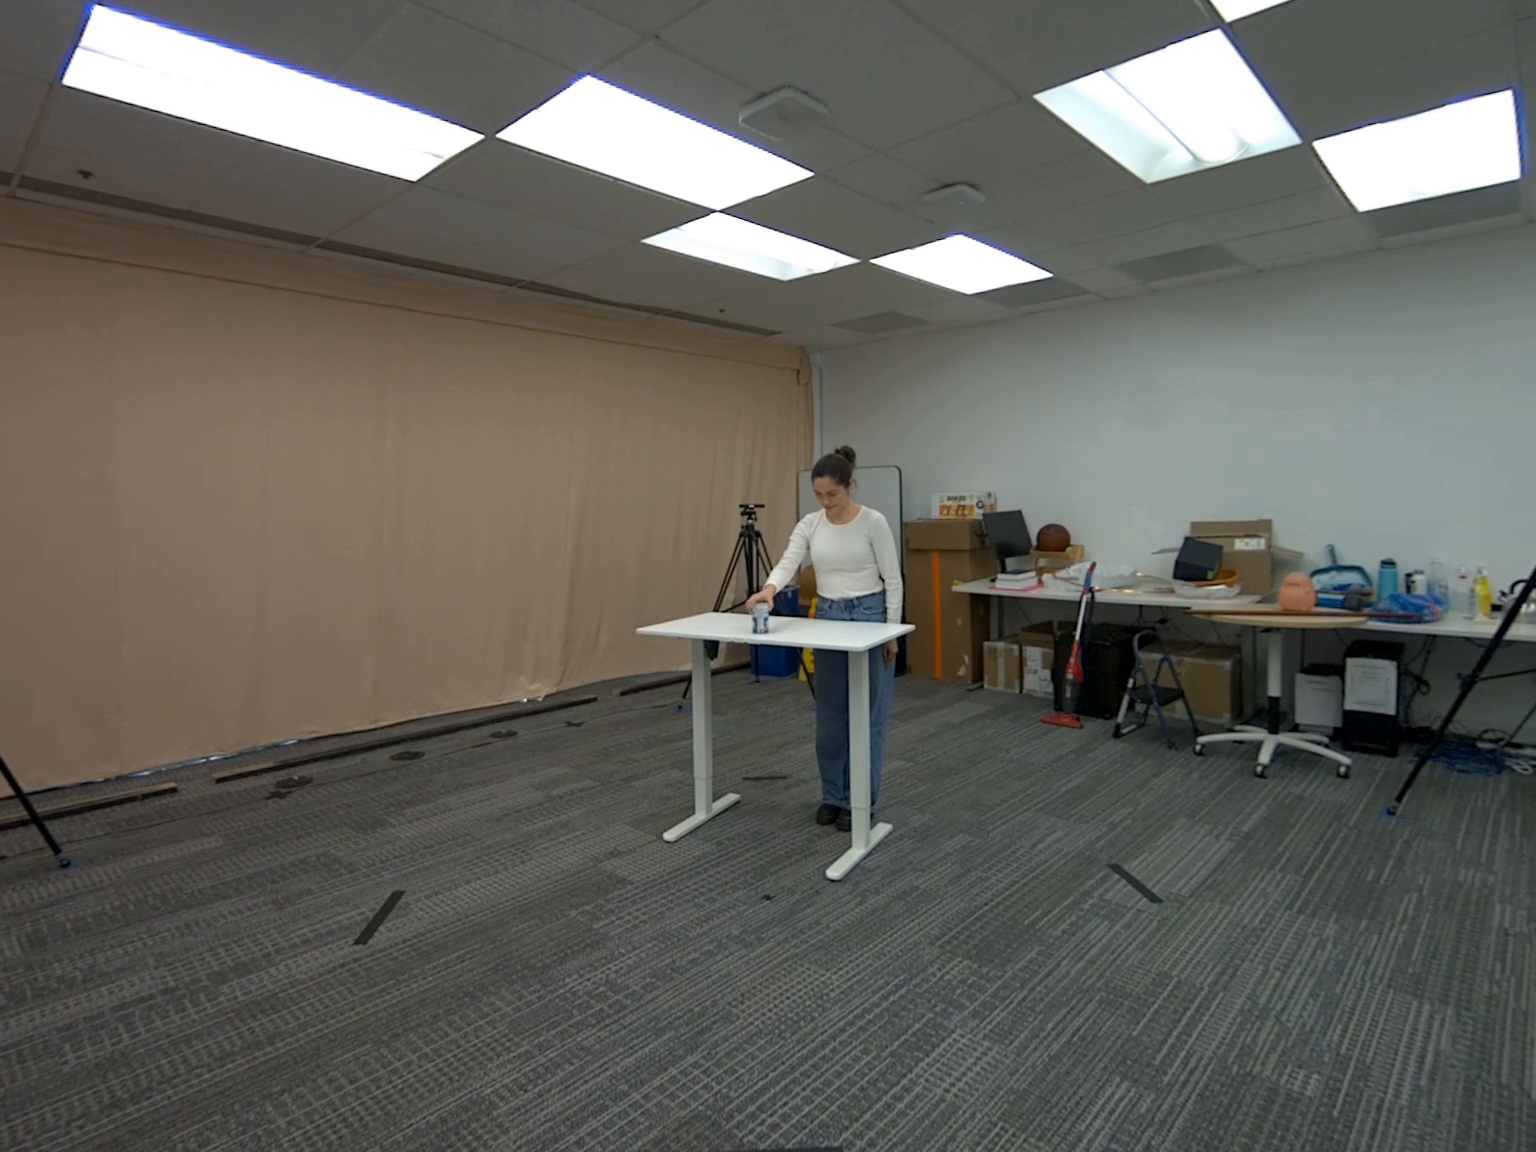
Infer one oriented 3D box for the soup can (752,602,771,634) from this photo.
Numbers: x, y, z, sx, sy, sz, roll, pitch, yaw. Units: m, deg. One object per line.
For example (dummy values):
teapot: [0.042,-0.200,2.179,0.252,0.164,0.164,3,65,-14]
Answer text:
soup can: [-0.036,0.169,3.342,0.067,0.121,0.067,0,1,-2]
